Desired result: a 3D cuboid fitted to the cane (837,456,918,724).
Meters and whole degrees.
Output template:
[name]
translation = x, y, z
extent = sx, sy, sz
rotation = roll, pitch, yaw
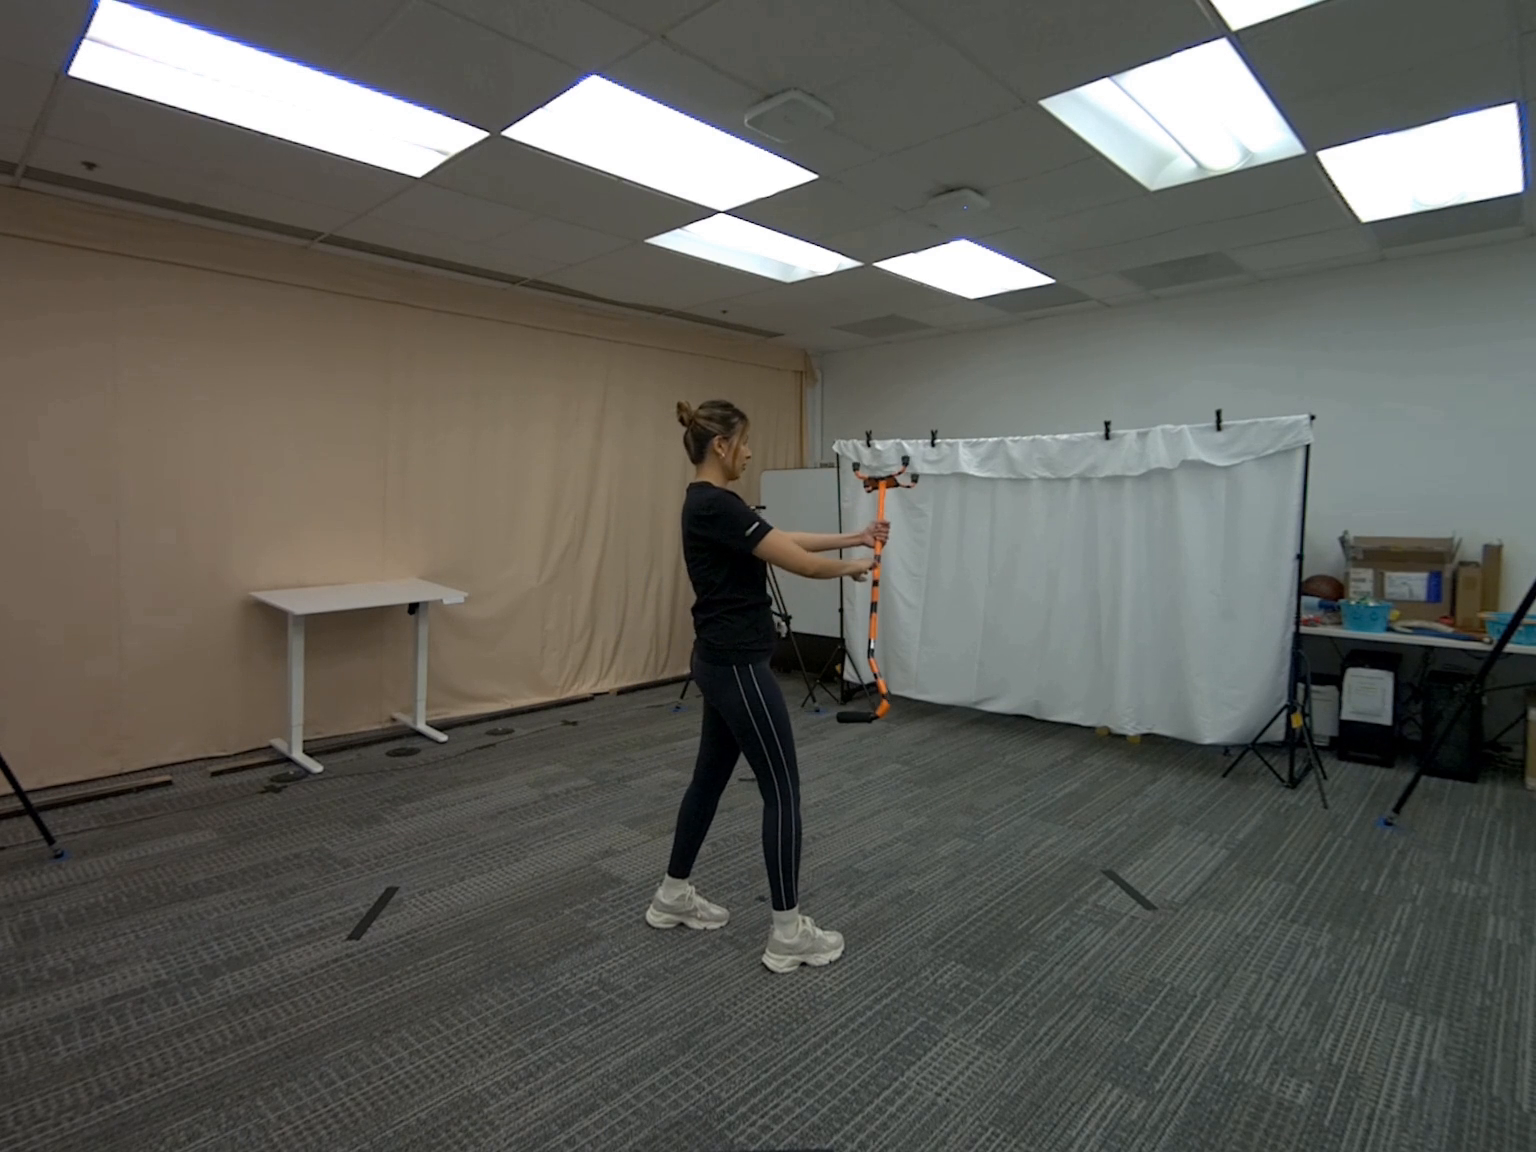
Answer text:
[cane]
translation = 0.369, 0.036, 2.778
extent = 0.211, 0.917, 0.146
rotation = -4, -27, 25
